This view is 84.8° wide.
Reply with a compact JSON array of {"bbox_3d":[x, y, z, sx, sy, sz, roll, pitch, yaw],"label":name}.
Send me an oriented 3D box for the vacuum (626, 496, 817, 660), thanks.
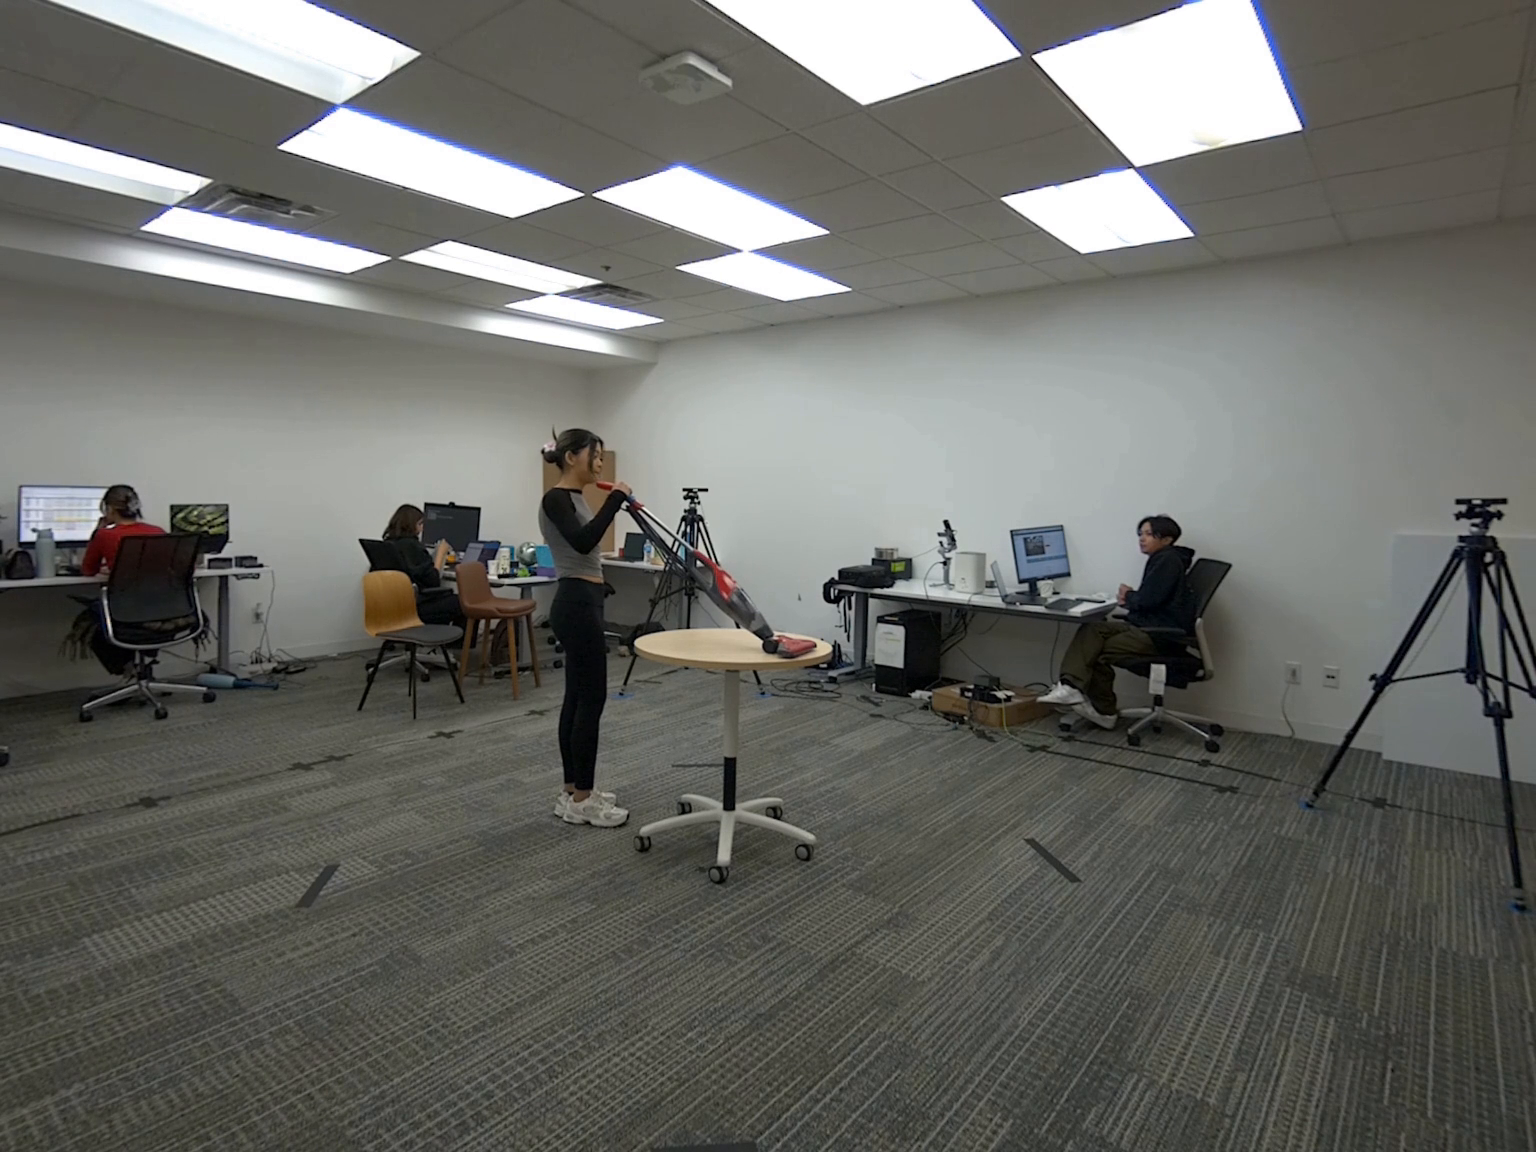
[{"bbox_3d":[-0.305,-0.049,3.327,1.081,0.143,0.246,39,21,21],"label":"vacuum"}]
